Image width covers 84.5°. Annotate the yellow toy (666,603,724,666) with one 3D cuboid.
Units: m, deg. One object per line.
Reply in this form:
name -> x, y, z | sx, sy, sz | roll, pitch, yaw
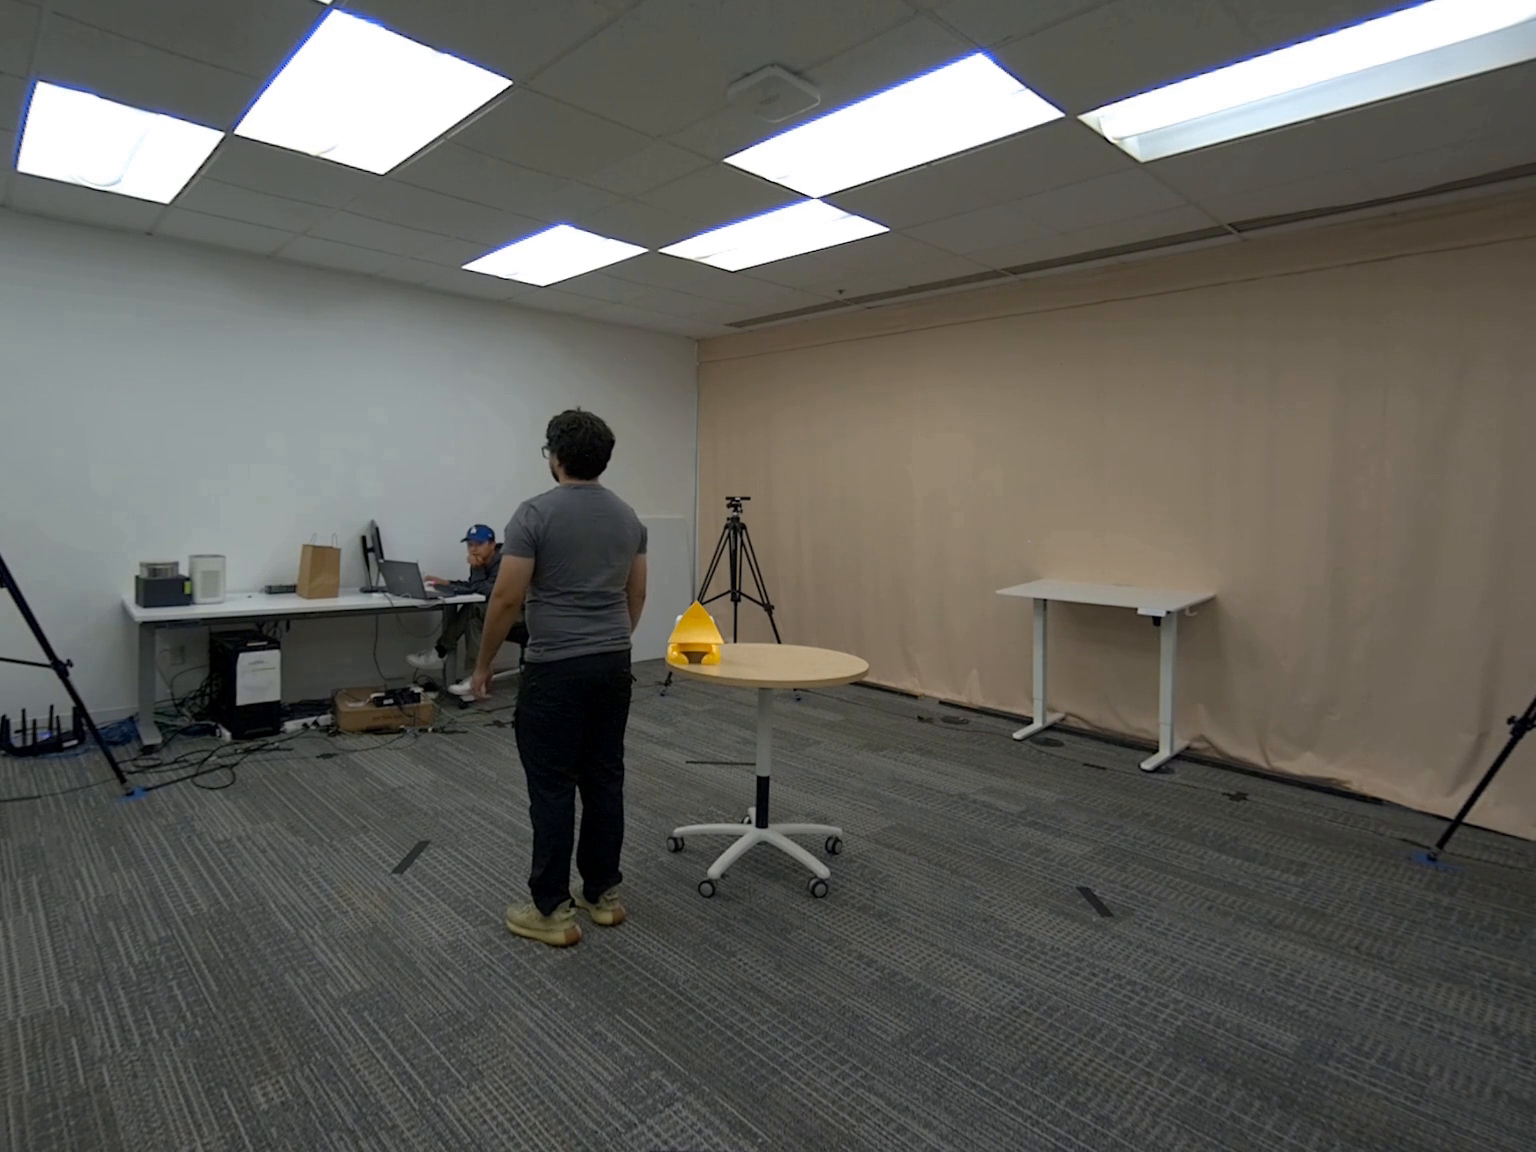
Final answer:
yellow toy -> -0.282, 0.201, 3.133 | 0.203, 0.230, 0.194 | 1, 3, -8
